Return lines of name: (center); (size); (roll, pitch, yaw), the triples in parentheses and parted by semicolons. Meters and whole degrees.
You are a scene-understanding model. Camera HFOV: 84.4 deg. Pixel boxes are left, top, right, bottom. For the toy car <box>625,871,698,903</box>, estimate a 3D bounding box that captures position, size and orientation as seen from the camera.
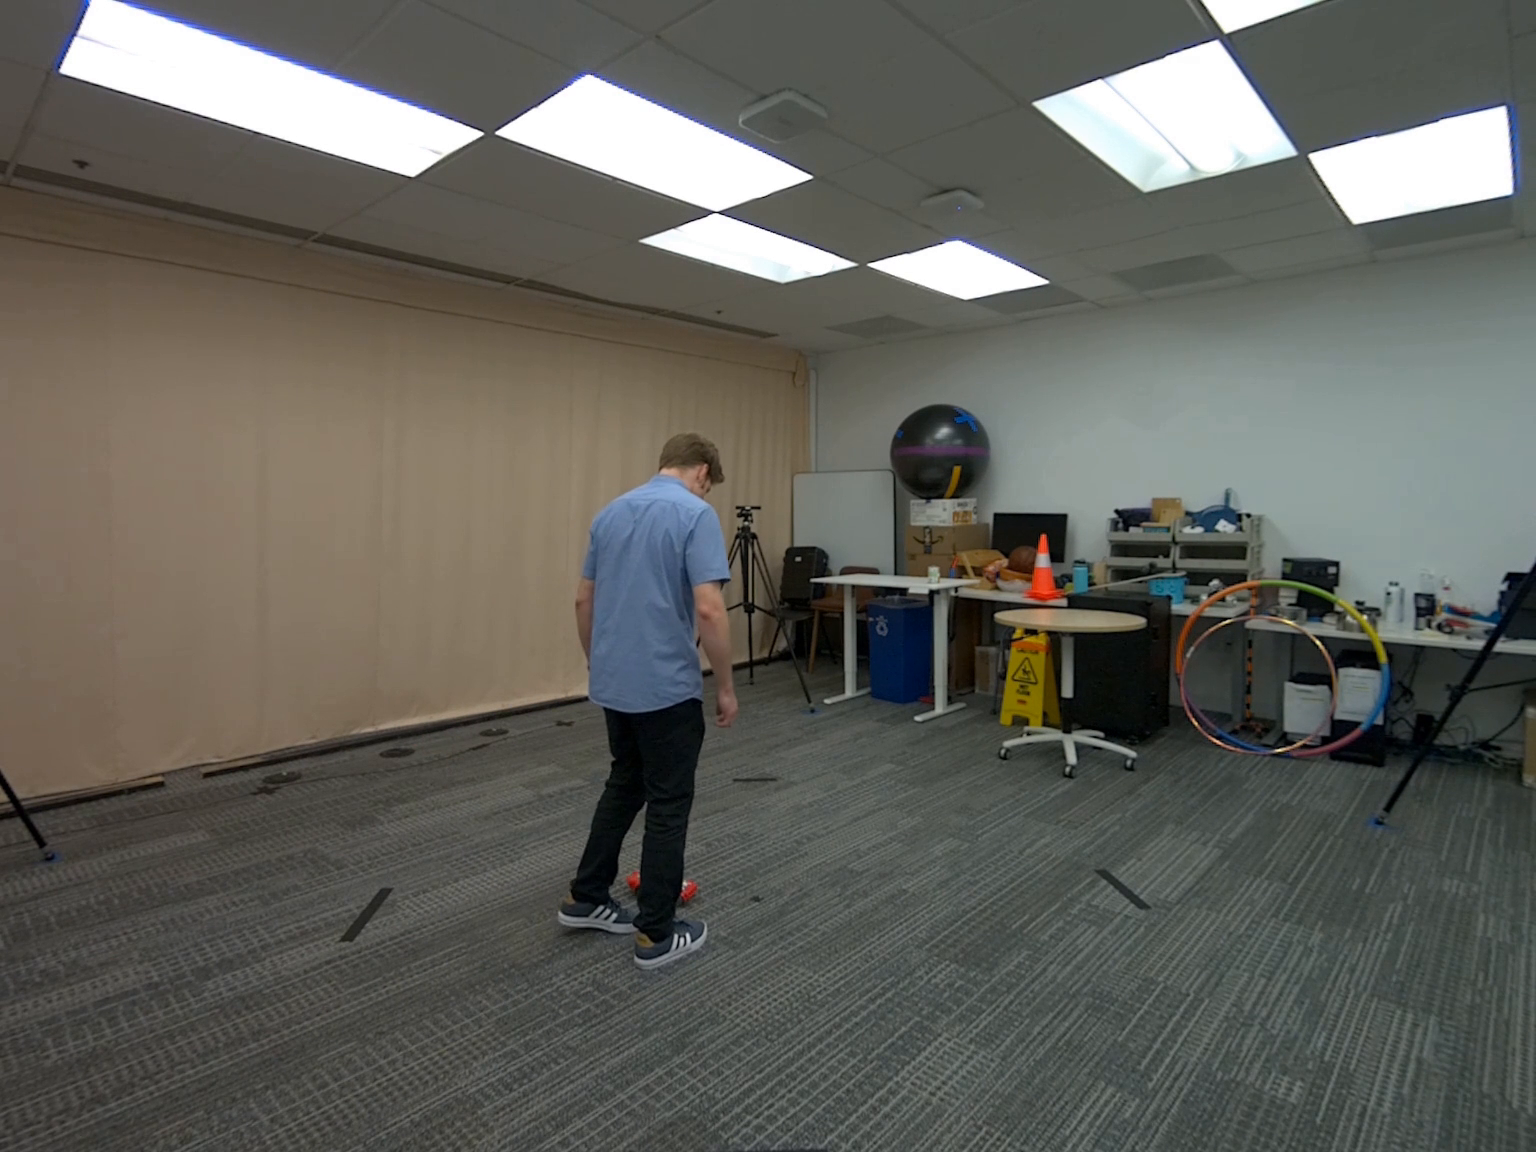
toy car: (-0.385, 1.112, 3.011); (0.261, 0.083, 0.127); (12, 9, 22)
